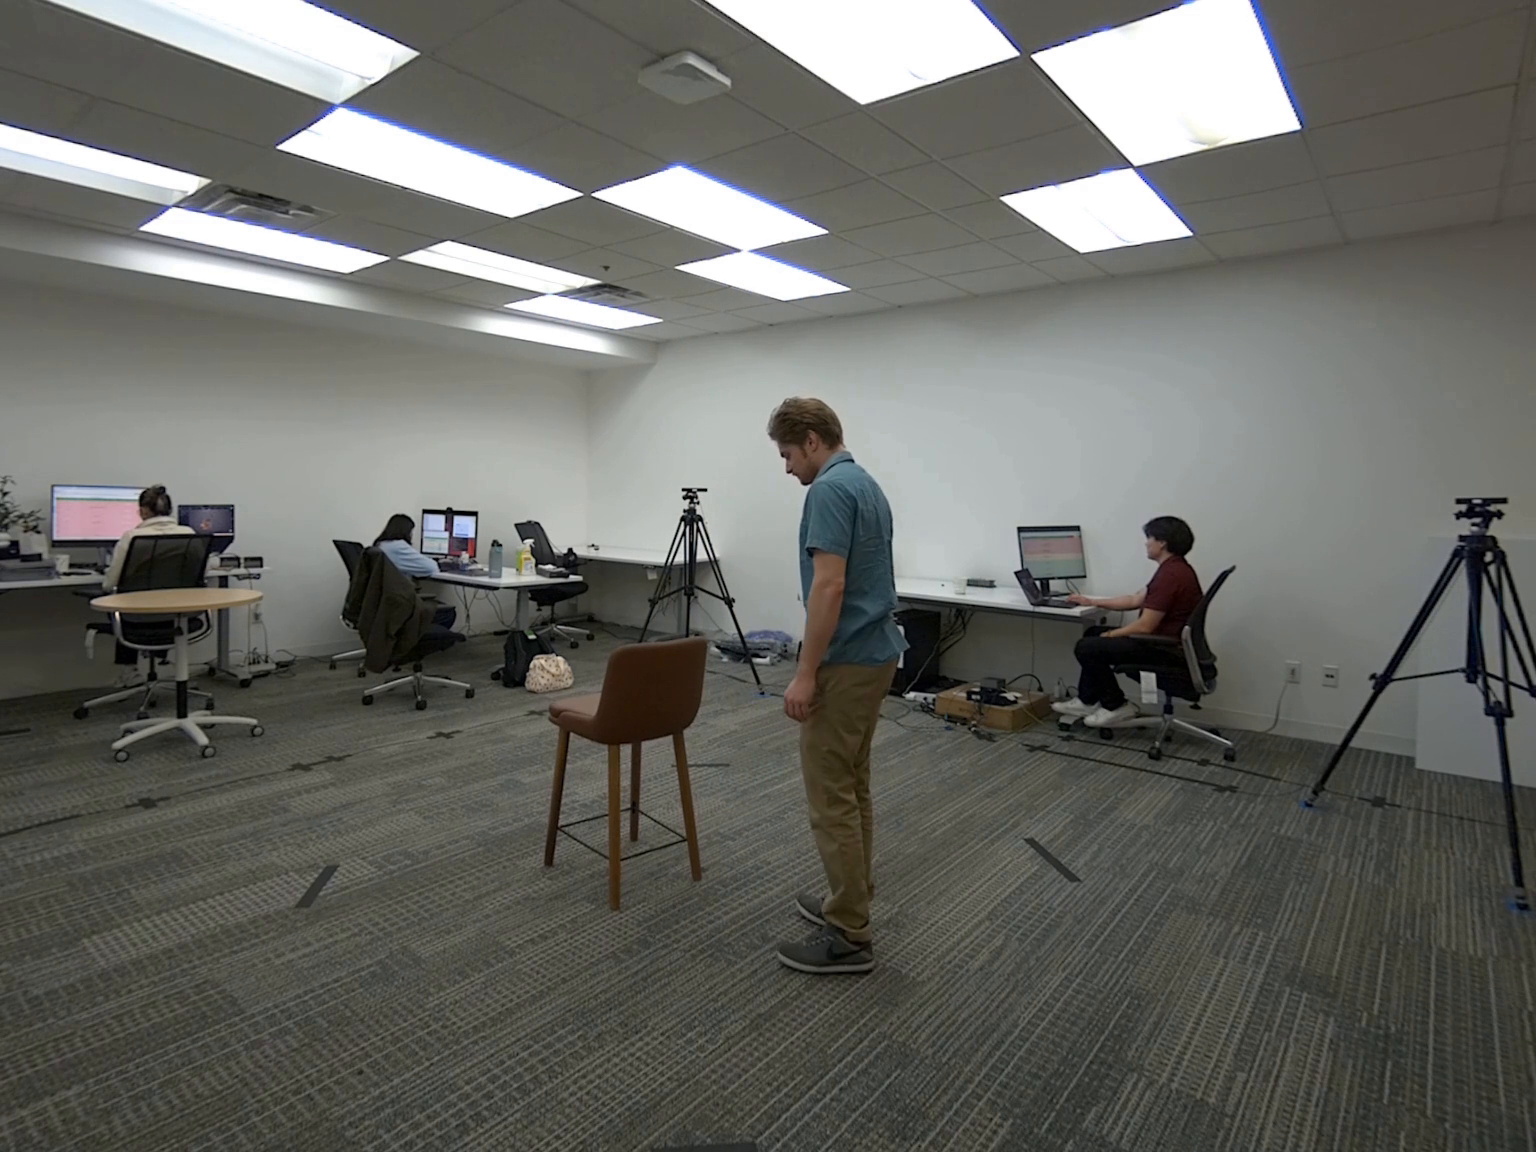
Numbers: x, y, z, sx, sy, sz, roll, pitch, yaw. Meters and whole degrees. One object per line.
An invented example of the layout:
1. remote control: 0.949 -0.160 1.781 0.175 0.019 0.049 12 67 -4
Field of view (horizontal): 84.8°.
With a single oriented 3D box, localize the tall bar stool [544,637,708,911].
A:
1. tall bar stool: -0.519 0.635 3.055 0.442 0.886 0.484 -1 6 -42
